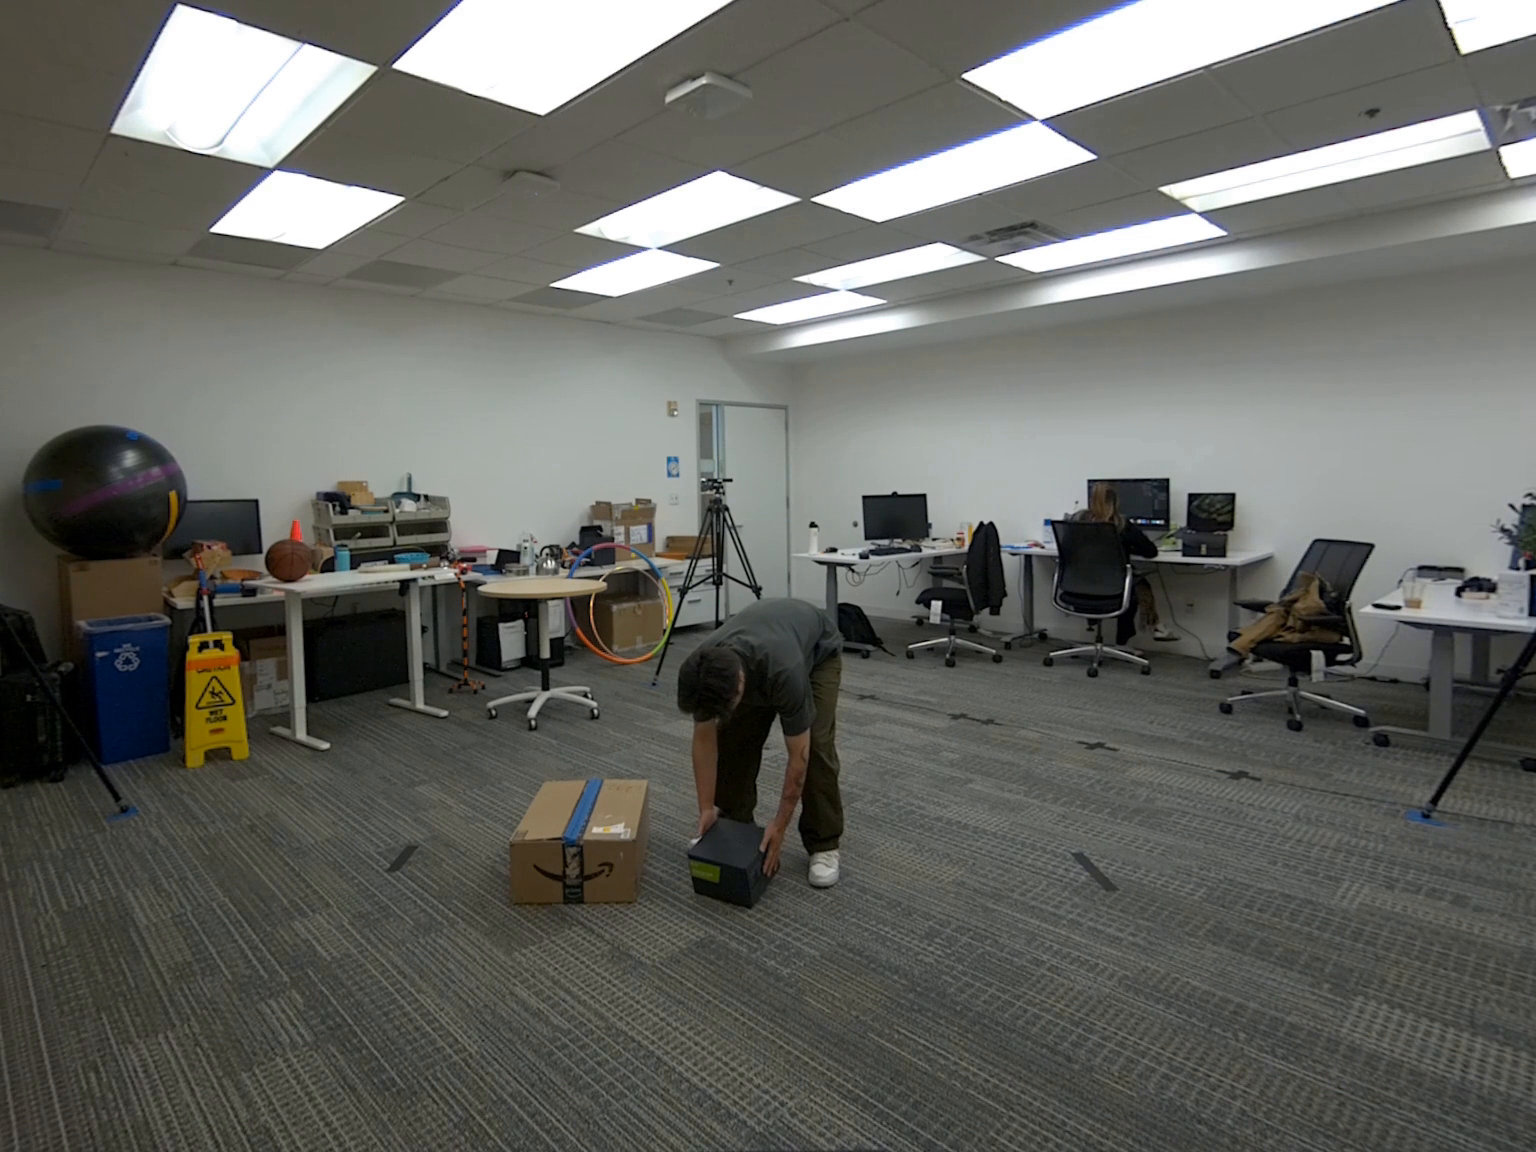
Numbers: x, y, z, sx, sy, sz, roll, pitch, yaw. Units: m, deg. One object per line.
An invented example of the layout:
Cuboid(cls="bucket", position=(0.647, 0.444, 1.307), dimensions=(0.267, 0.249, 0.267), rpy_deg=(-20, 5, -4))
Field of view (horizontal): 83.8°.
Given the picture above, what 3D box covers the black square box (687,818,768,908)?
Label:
Cuboid(cls="black square box", position=(-0.121, 0.968, 2.893), dimensions=(0.233, 0.153, 0.215), rpy_deg=(3, 19, 25))
